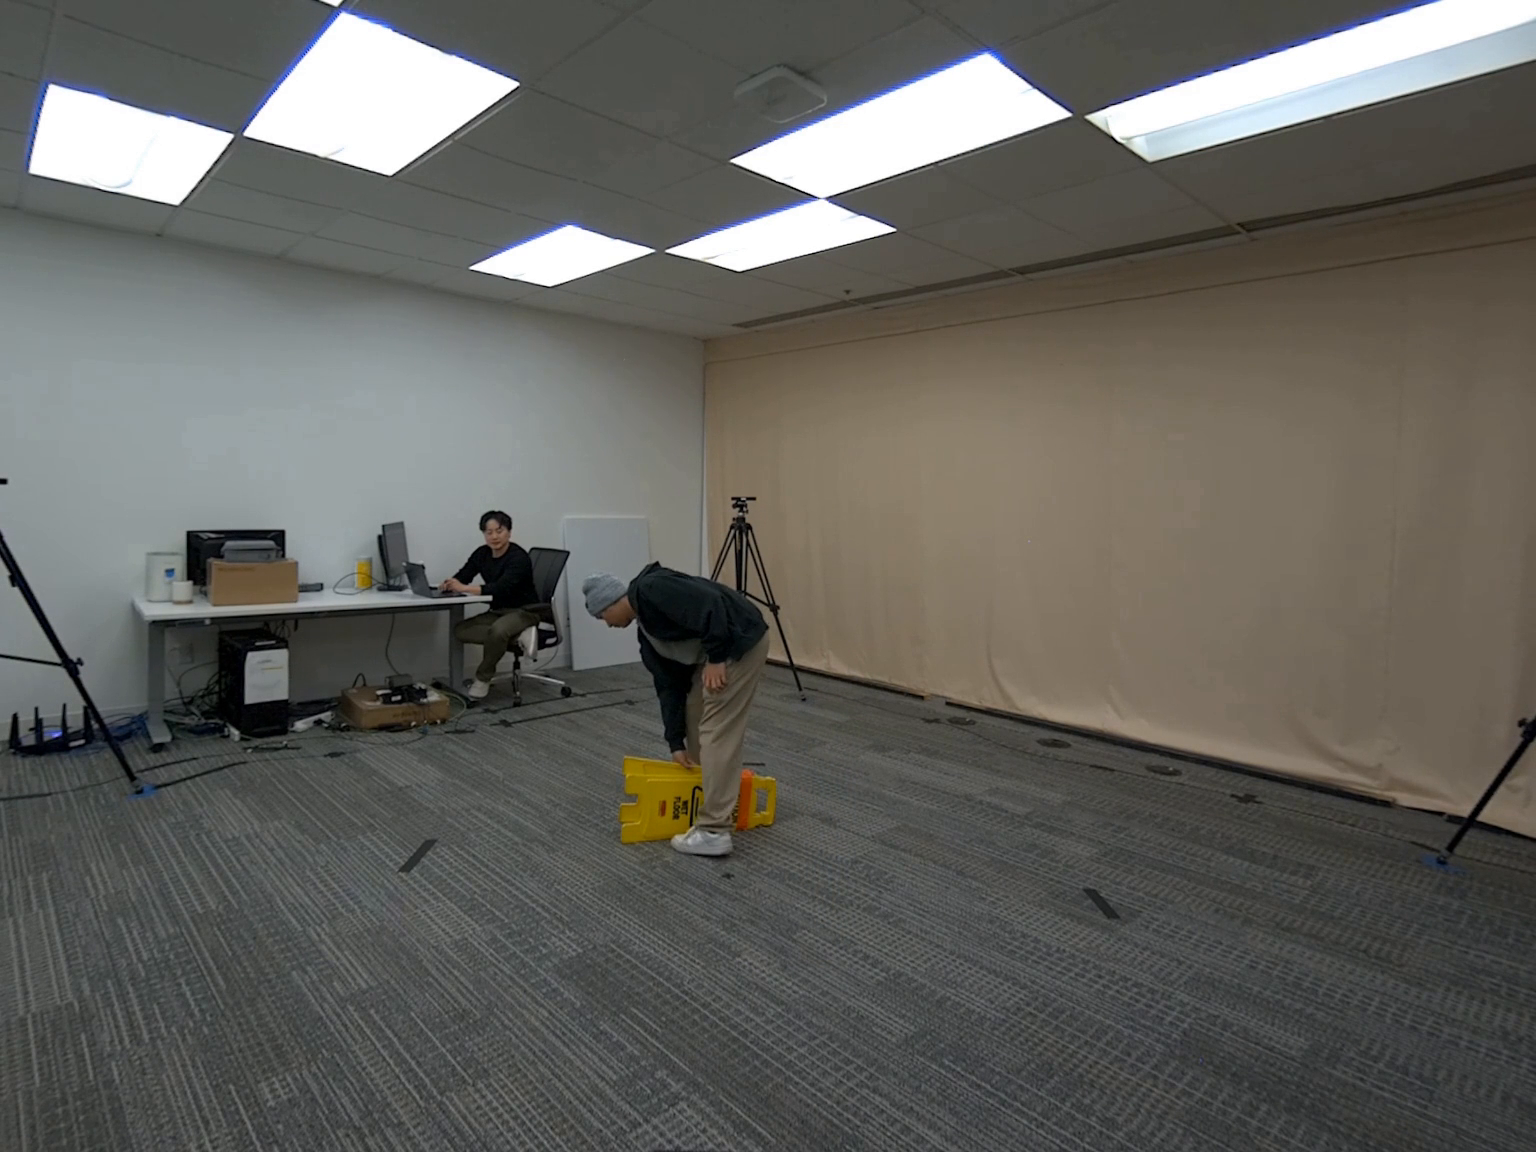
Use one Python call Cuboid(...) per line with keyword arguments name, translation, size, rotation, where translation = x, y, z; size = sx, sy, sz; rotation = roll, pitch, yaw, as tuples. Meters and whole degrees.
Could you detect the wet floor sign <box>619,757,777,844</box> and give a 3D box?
Cuboid(name="wet floor sign", translation=(-0.298, 0.939, 3.549), size=(0.640, 0.282, 0.293), rotation=(4, 4, -10))
